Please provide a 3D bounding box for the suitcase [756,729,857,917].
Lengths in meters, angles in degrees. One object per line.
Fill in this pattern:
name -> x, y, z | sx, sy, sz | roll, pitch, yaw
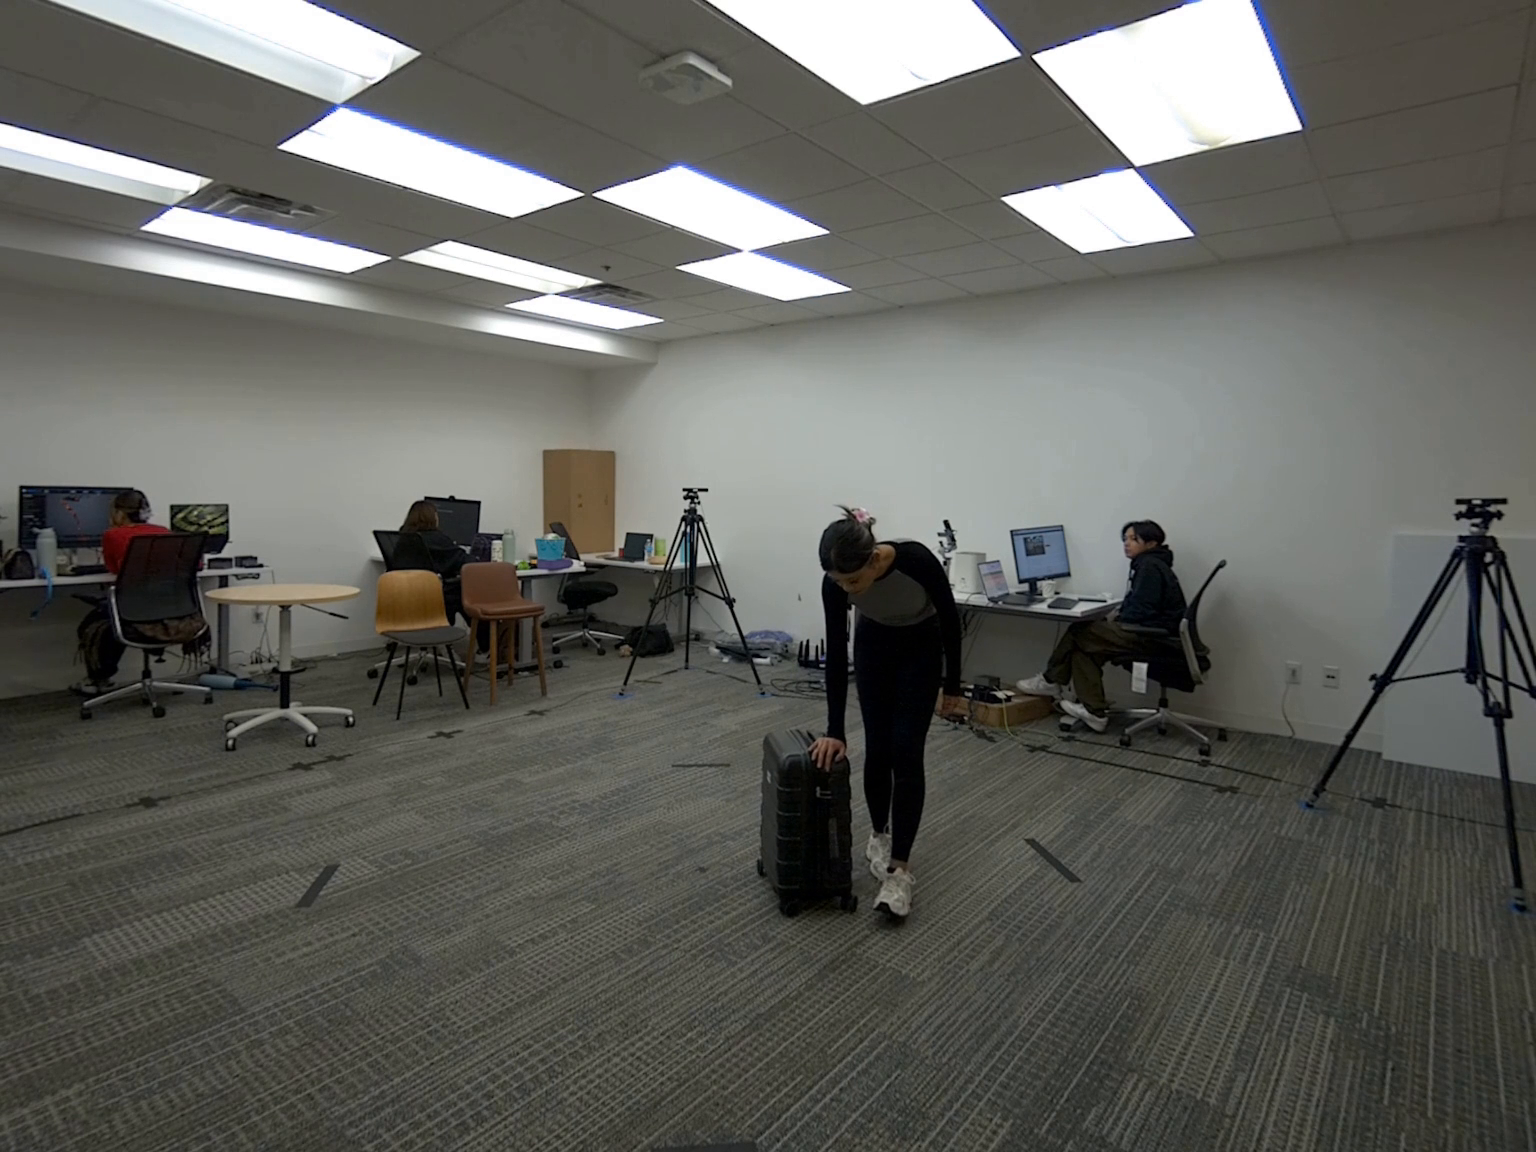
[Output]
suitcase -> 0.117, 0.813, 2.917 | 0.246, 0.547, 0.381 | -1, 5, -11
